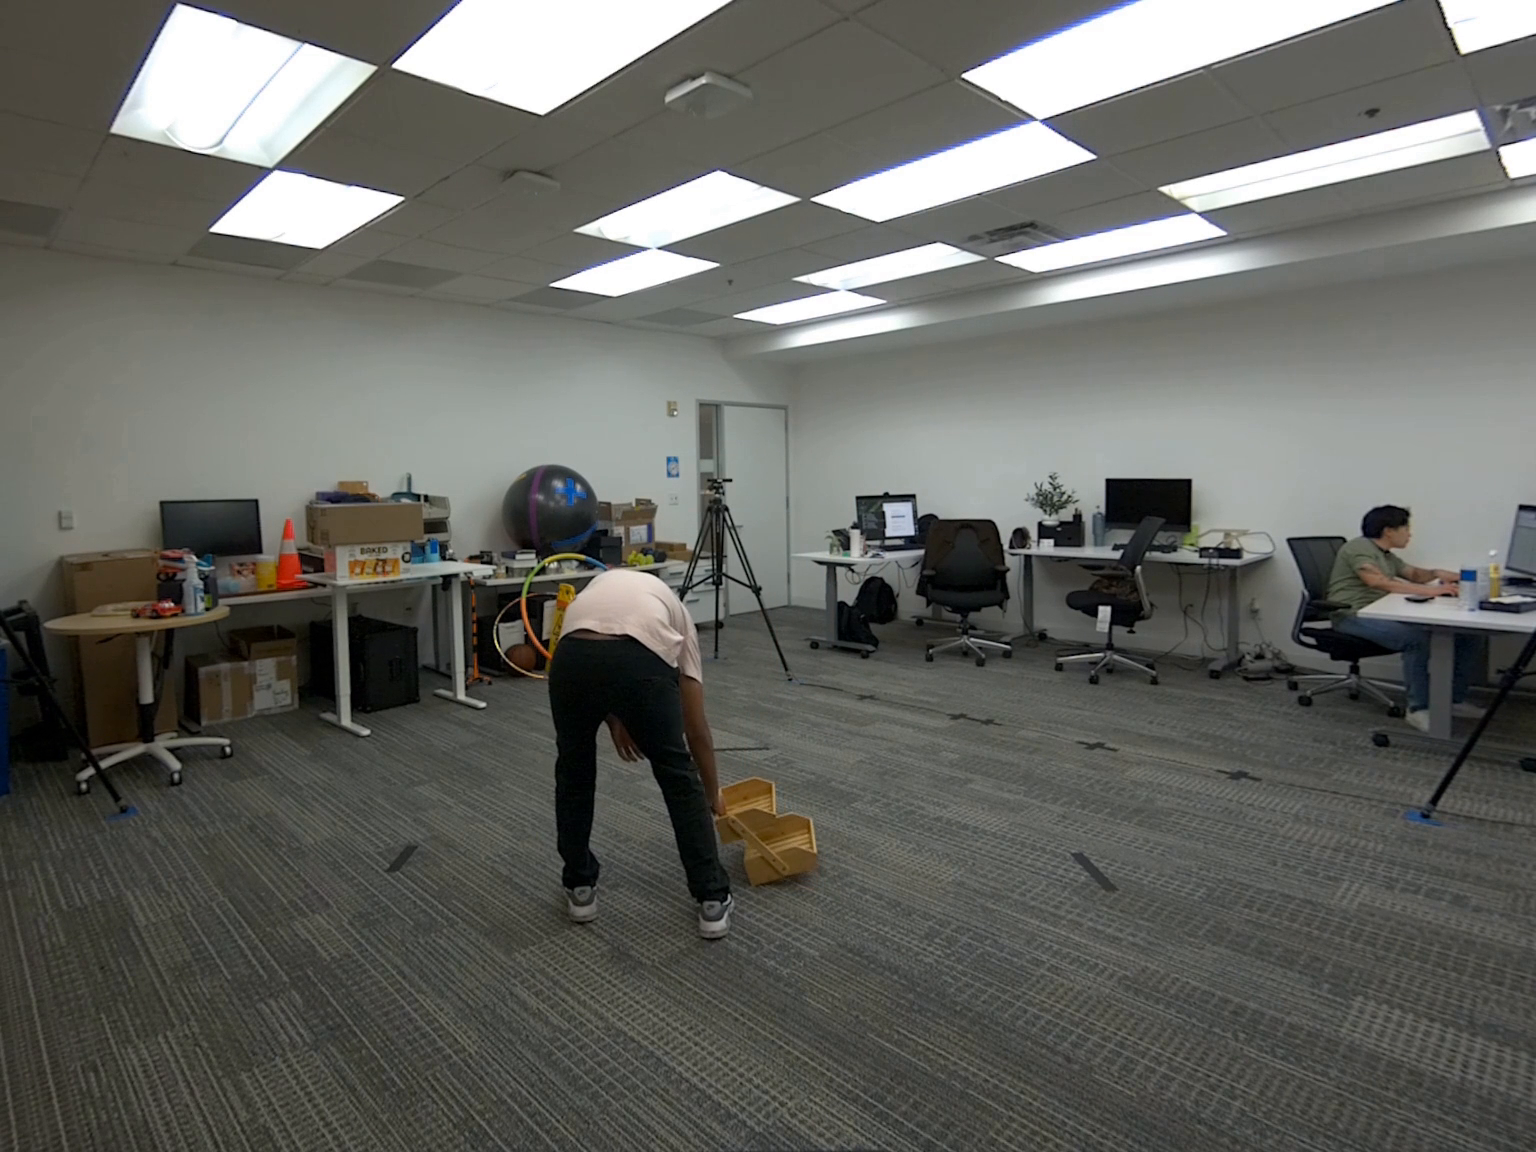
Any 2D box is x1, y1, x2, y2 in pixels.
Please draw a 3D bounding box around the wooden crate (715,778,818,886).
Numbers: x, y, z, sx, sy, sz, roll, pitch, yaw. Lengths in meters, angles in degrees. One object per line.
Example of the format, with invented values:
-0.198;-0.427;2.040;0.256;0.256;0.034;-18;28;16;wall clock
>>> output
-0.007;0.899;3.073;0.303;0.272;0.325;-19;4;3;wooden crate
